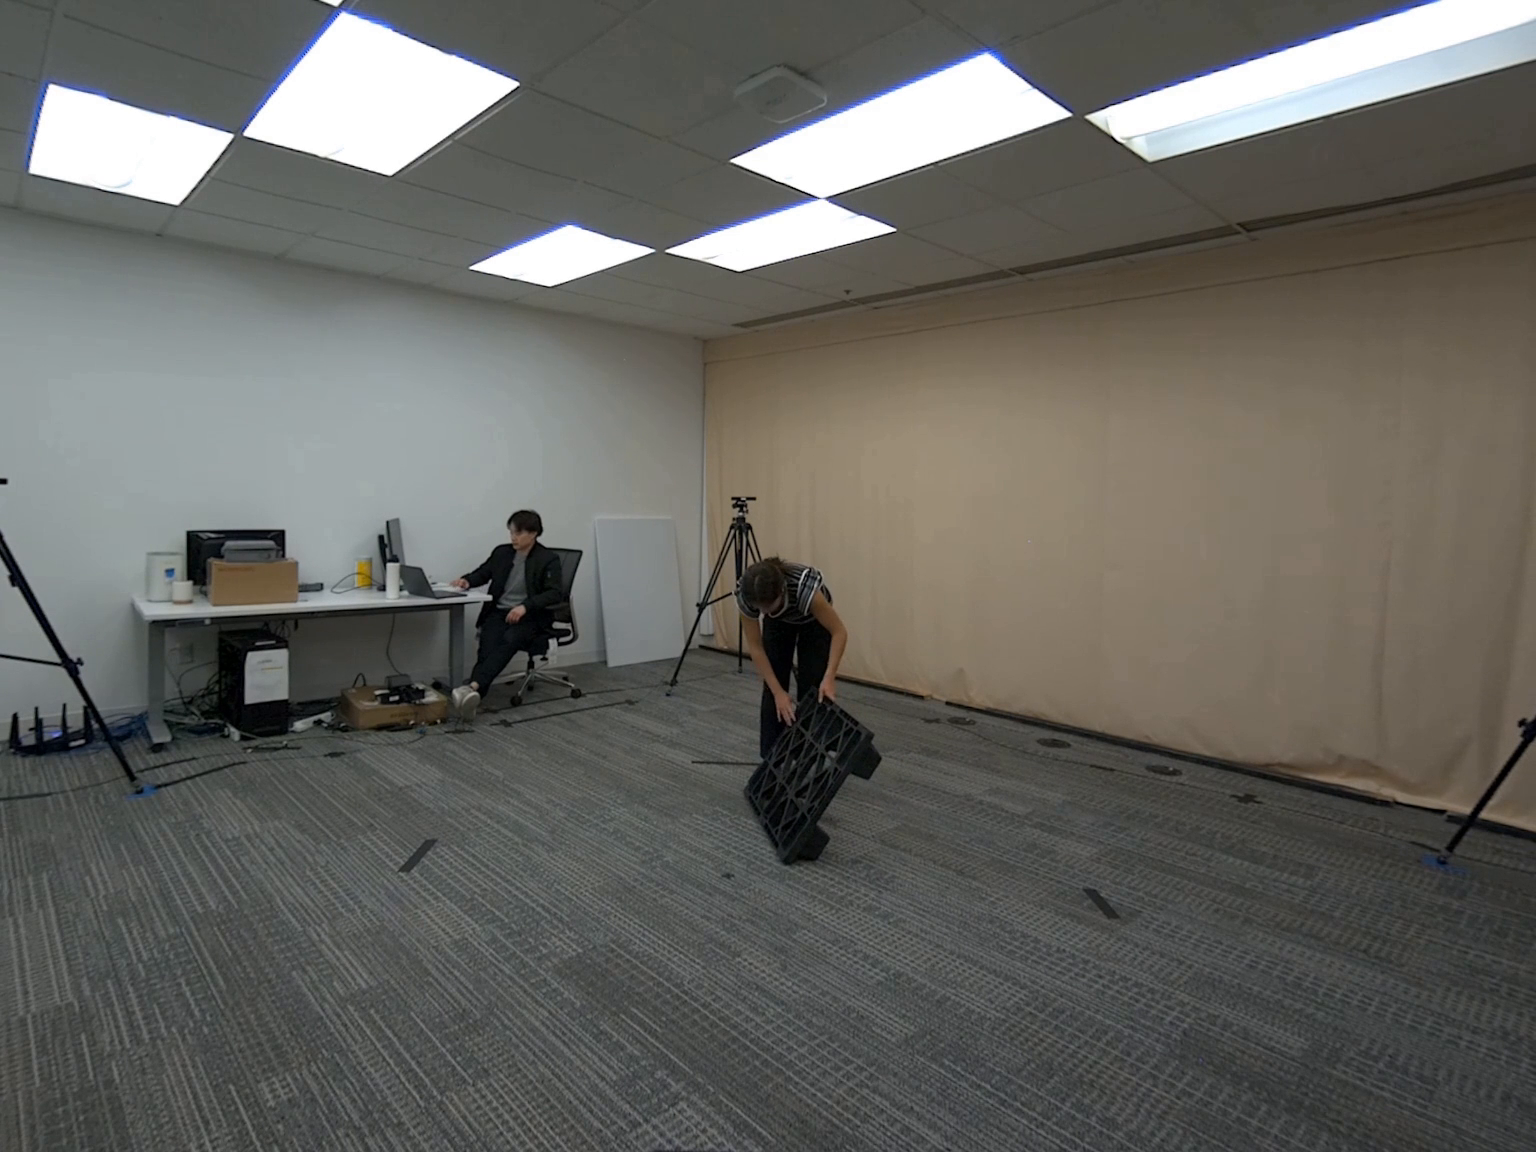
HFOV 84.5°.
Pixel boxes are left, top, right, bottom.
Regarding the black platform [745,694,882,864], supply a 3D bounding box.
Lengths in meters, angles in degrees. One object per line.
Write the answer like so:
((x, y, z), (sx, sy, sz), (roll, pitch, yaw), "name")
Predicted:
((0.174, 0.837, 3.610), (0.141, 0.605, 0.815), (35, -3, -13), "black platform")
